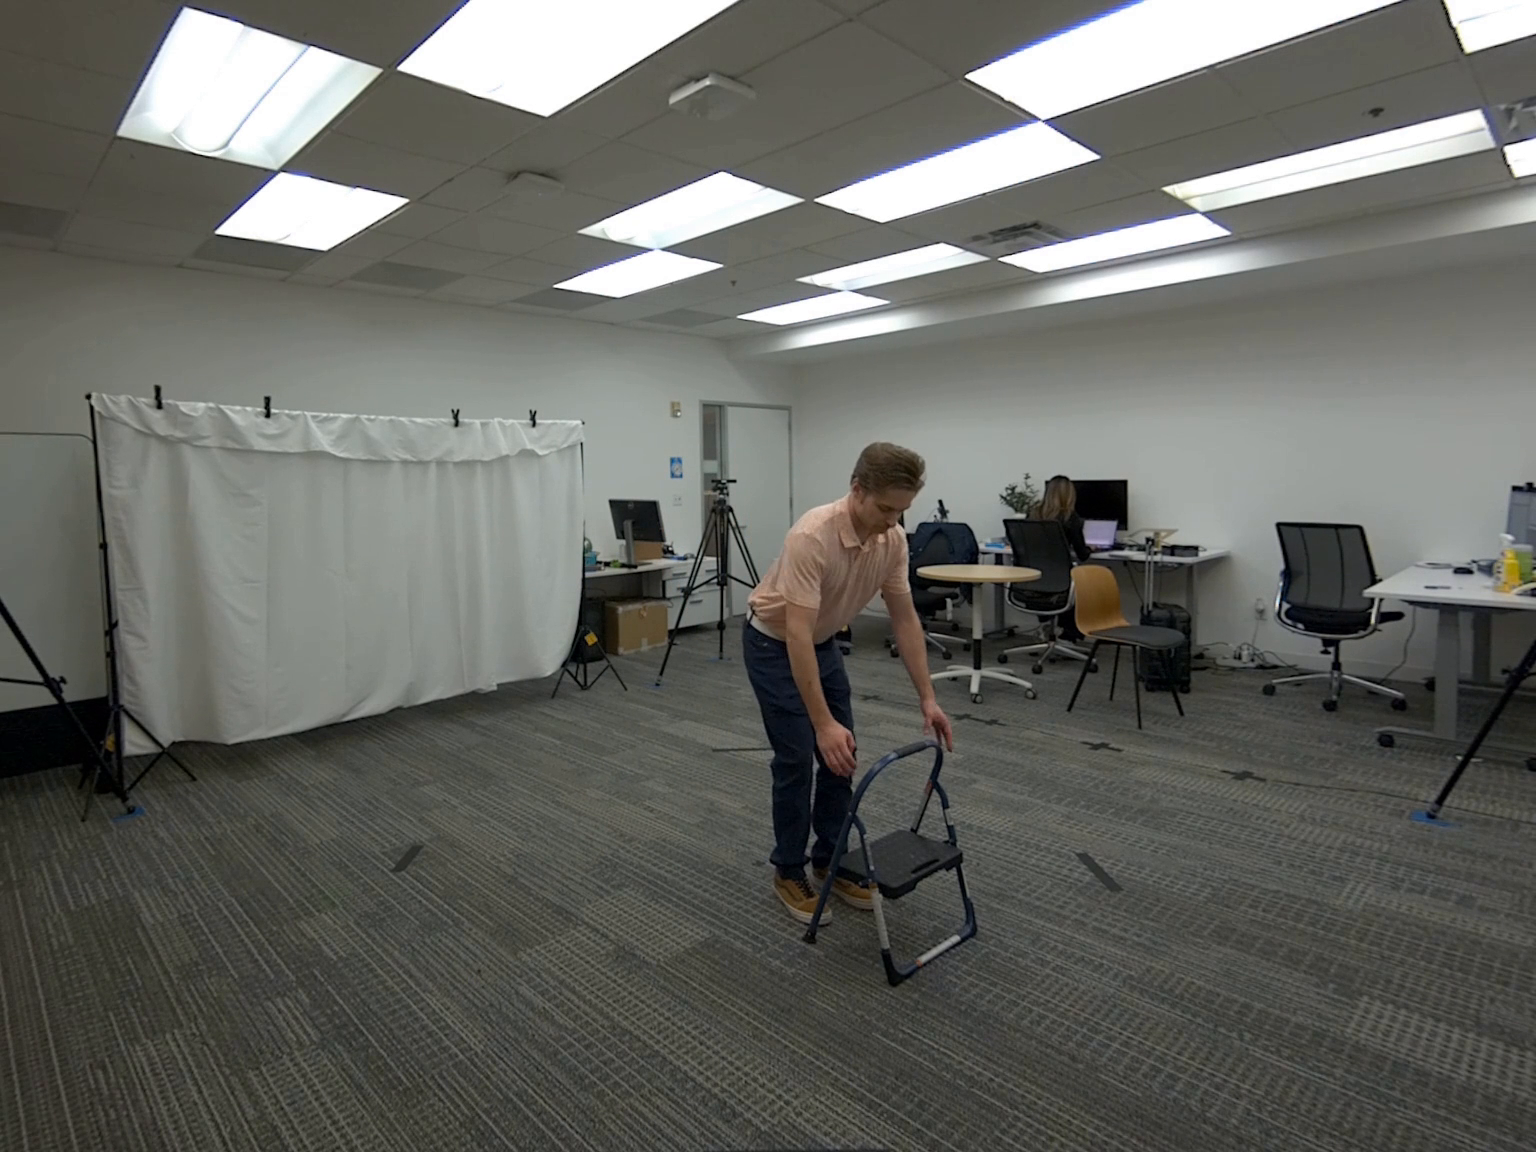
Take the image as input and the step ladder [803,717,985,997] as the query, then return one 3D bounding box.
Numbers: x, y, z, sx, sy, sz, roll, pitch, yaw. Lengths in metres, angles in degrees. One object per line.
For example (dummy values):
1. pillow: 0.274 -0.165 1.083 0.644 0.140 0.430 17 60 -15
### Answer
1. step ladder: 0.374 0.804 2.577 0.420 0.603 0.360 -7 7 -44
